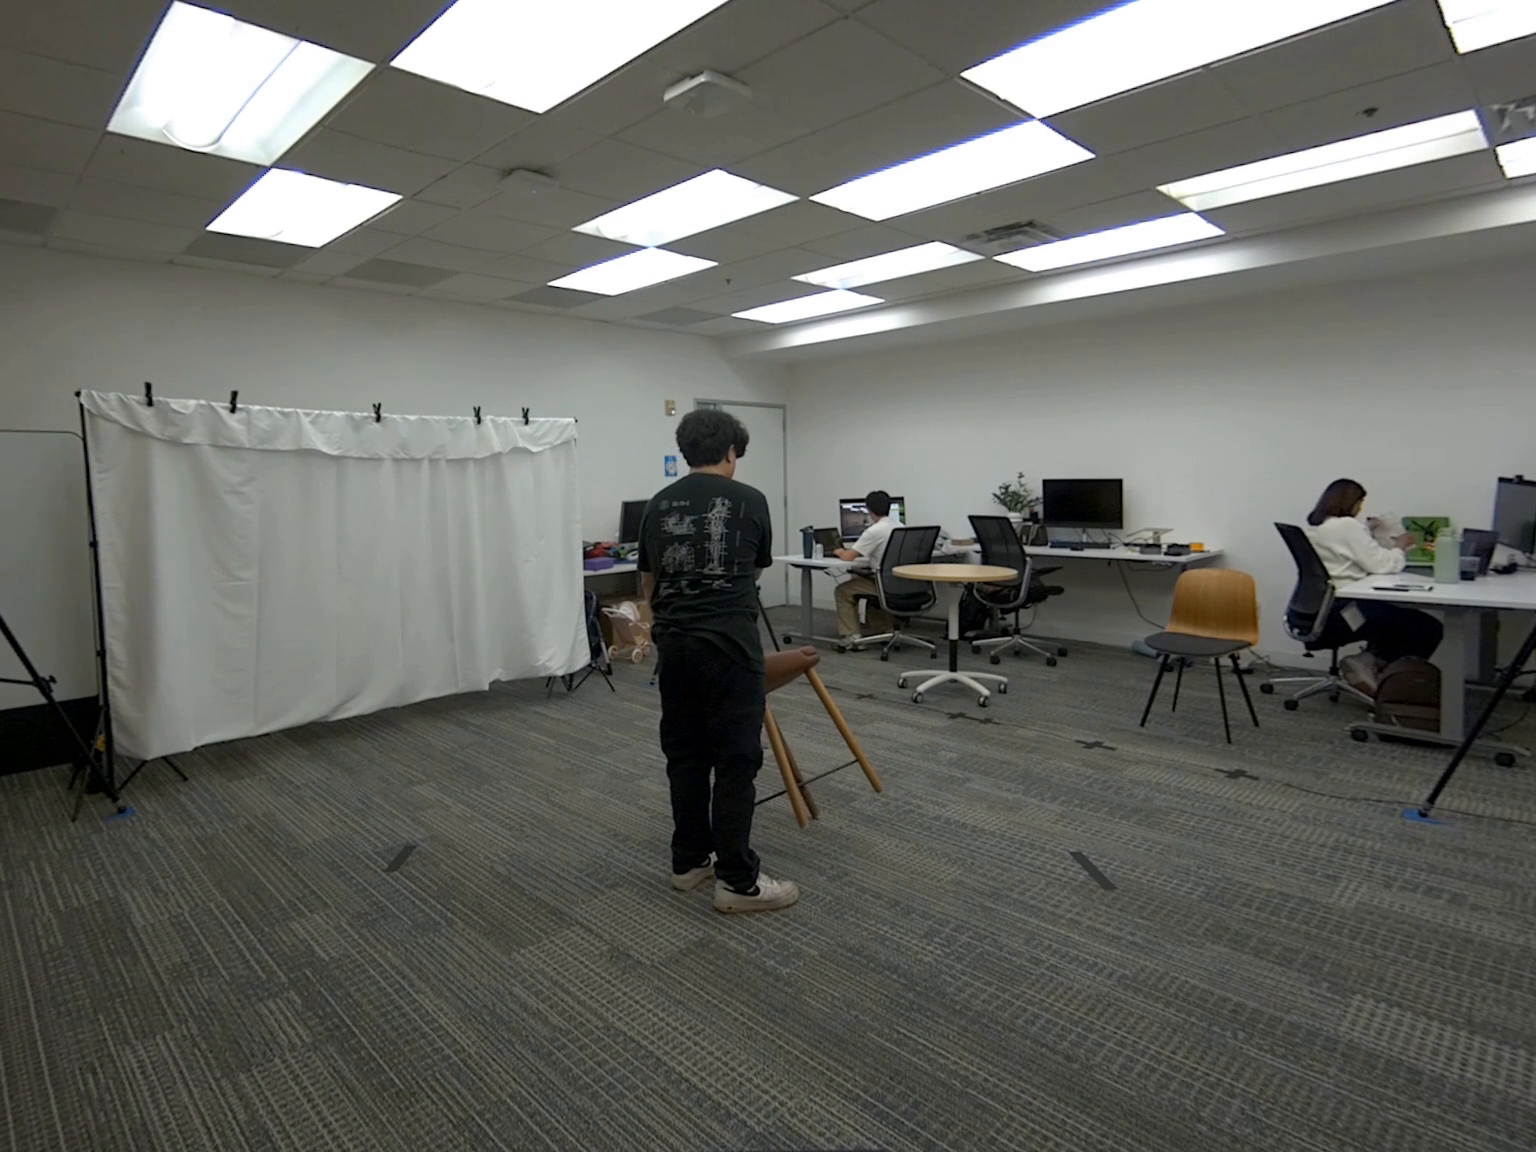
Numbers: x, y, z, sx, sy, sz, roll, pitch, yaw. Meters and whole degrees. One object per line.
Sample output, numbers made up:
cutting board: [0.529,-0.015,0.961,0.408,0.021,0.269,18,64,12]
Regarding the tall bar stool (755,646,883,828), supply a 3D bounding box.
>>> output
tall bar stool: [-0.004,0.544,3.361,0.456,0.907,0.459,-9,-21,-44]
